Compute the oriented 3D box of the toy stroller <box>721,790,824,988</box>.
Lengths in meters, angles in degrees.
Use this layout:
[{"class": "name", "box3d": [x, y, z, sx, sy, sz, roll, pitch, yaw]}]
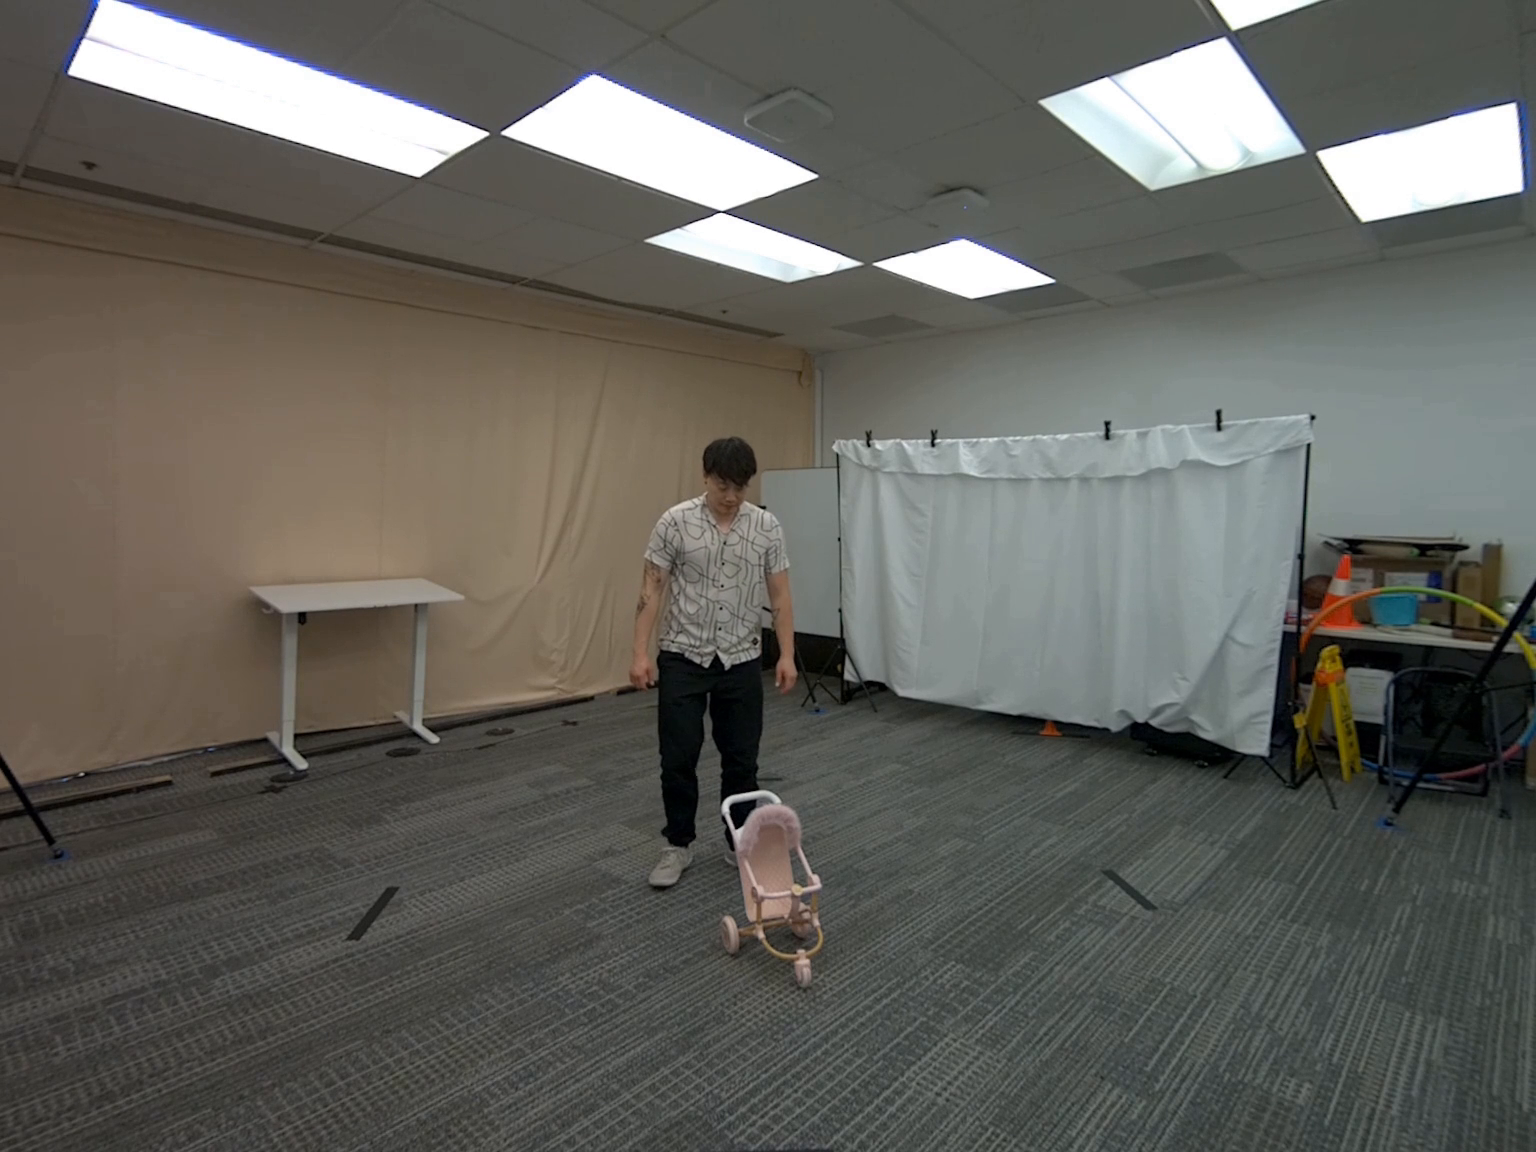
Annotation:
[{"class": "toy stroller", "box3d": [0.026, 0.950, 2.603, 0.276, 0.540, 0.345, -1, -13, -20]}]
